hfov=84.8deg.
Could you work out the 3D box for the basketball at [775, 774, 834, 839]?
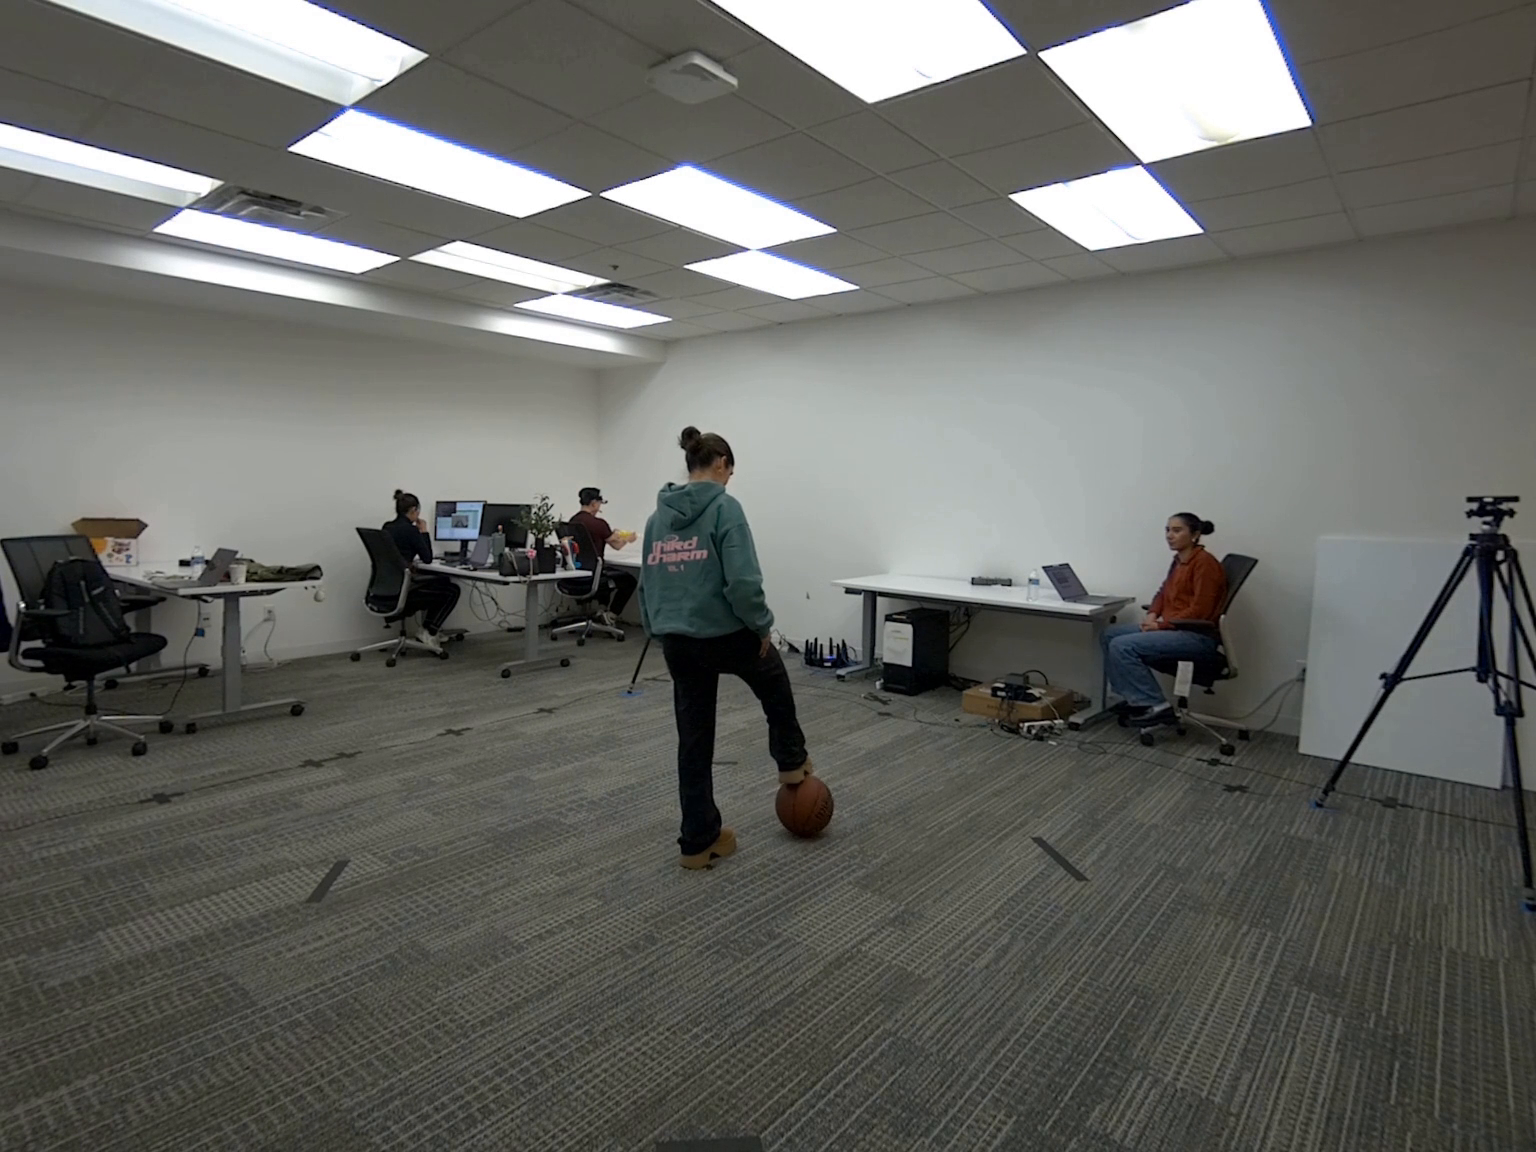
[{"bbox_3d":[0.142,0.921,3.433,0.236,0.235,0.237,1,4,-2],"label":"basketball"}]
